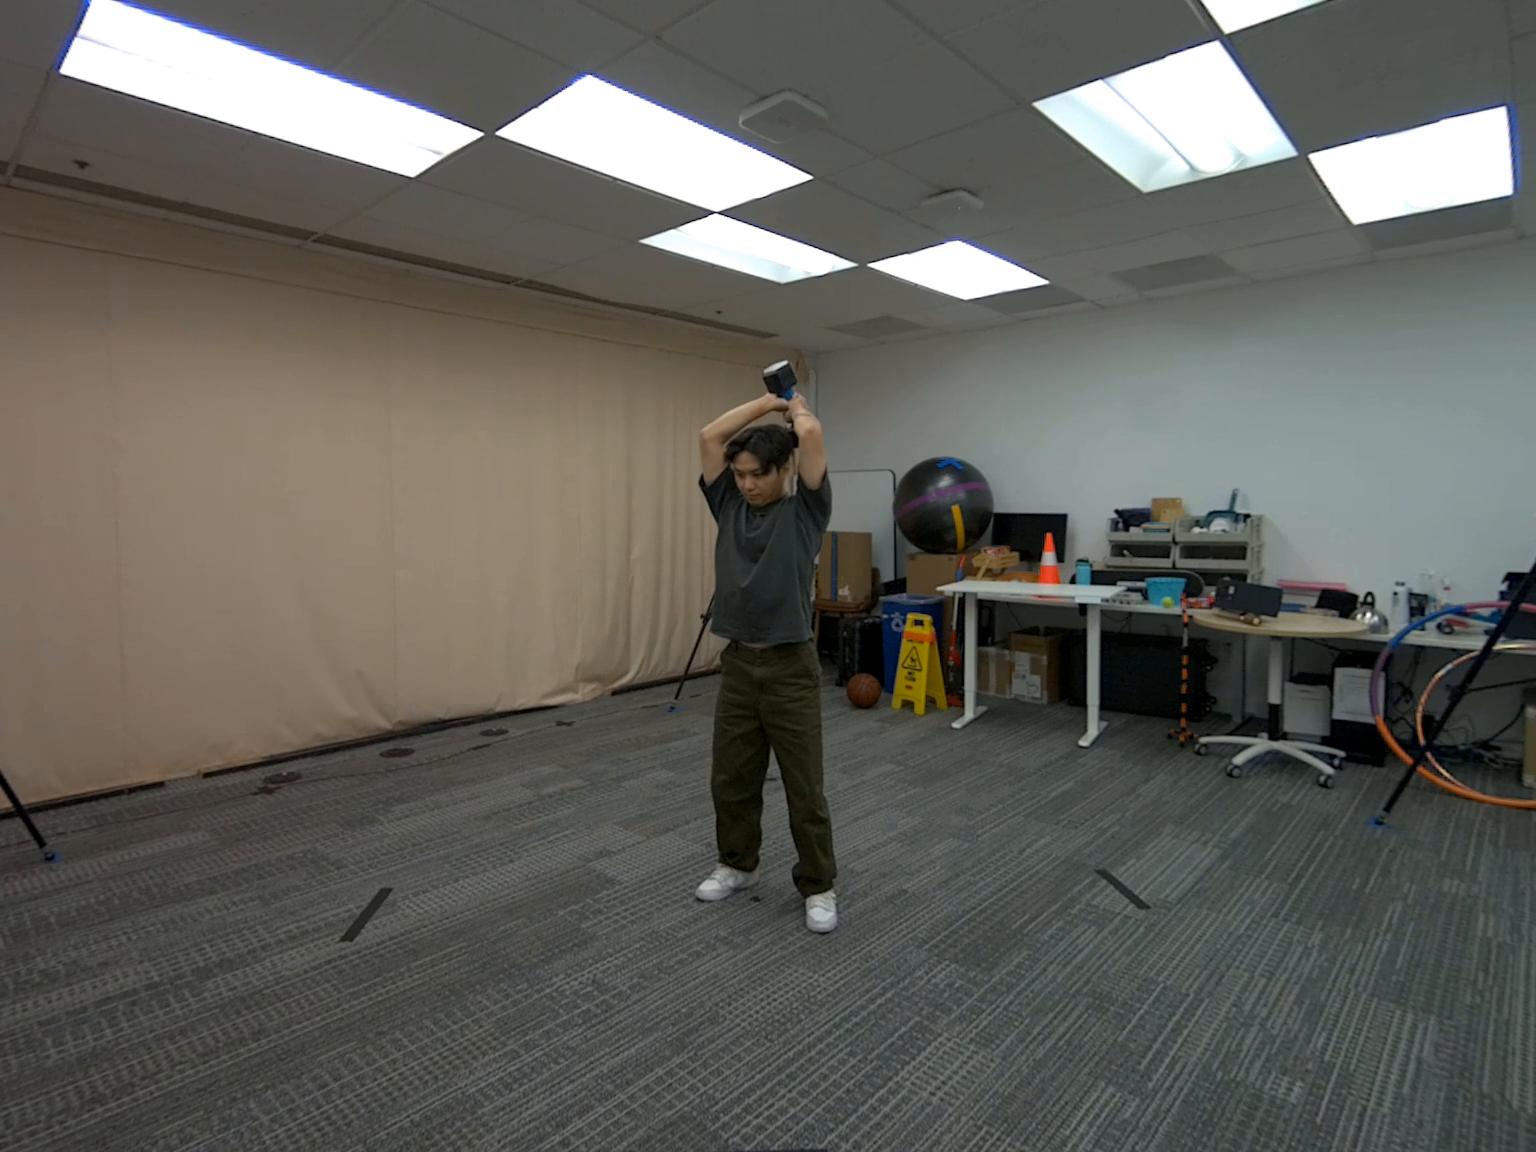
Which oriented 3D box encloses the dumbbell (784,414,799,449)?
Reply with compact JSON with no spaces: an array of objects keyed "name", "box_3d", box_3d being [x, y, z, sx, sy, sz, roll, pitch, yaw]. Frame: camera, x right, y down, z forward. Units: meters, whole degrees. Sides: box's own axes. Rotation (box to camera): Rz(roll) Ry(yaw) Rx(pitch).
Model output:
[{"name":"dumbbell","box_3d":[0.084,-0.602,2.942,0.122,0.287,0.112,-33,22,-16]}]
